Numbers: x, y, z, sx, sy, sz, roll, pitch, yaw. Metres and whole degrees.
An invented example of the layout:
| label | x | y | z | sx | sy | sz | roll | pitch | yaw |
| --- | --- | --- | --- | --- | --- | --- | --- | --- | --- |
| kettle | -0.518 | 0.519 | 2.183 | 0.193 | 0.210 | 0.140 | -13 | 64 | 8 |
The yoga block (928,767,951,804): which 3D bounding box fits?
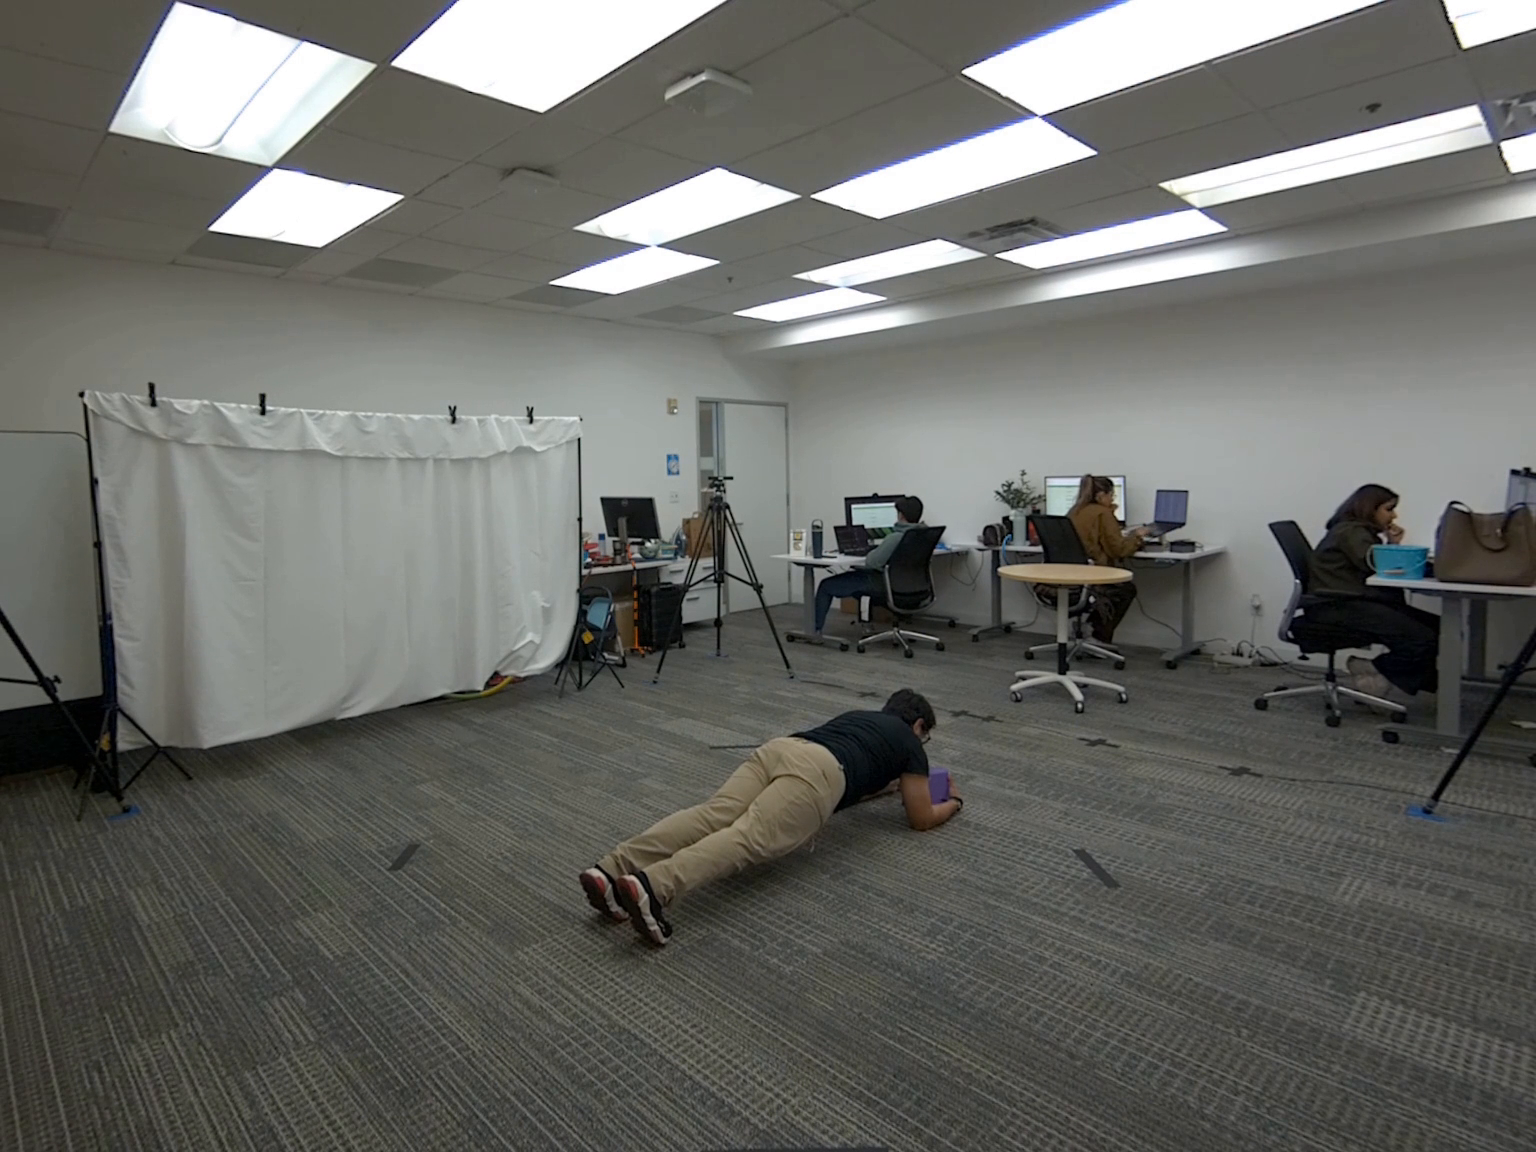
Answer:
| label | x | y | z | sx | sy | sz | roll | pitch | yaw |
| --- | --- | --- | --- | --- | --- | --- | --- | --- | --- |
| yoga block | 0.645 | 0.869 | 3.504 | 0.222 | 0.149 | 0.079 | 5 | -1 | -38 |
